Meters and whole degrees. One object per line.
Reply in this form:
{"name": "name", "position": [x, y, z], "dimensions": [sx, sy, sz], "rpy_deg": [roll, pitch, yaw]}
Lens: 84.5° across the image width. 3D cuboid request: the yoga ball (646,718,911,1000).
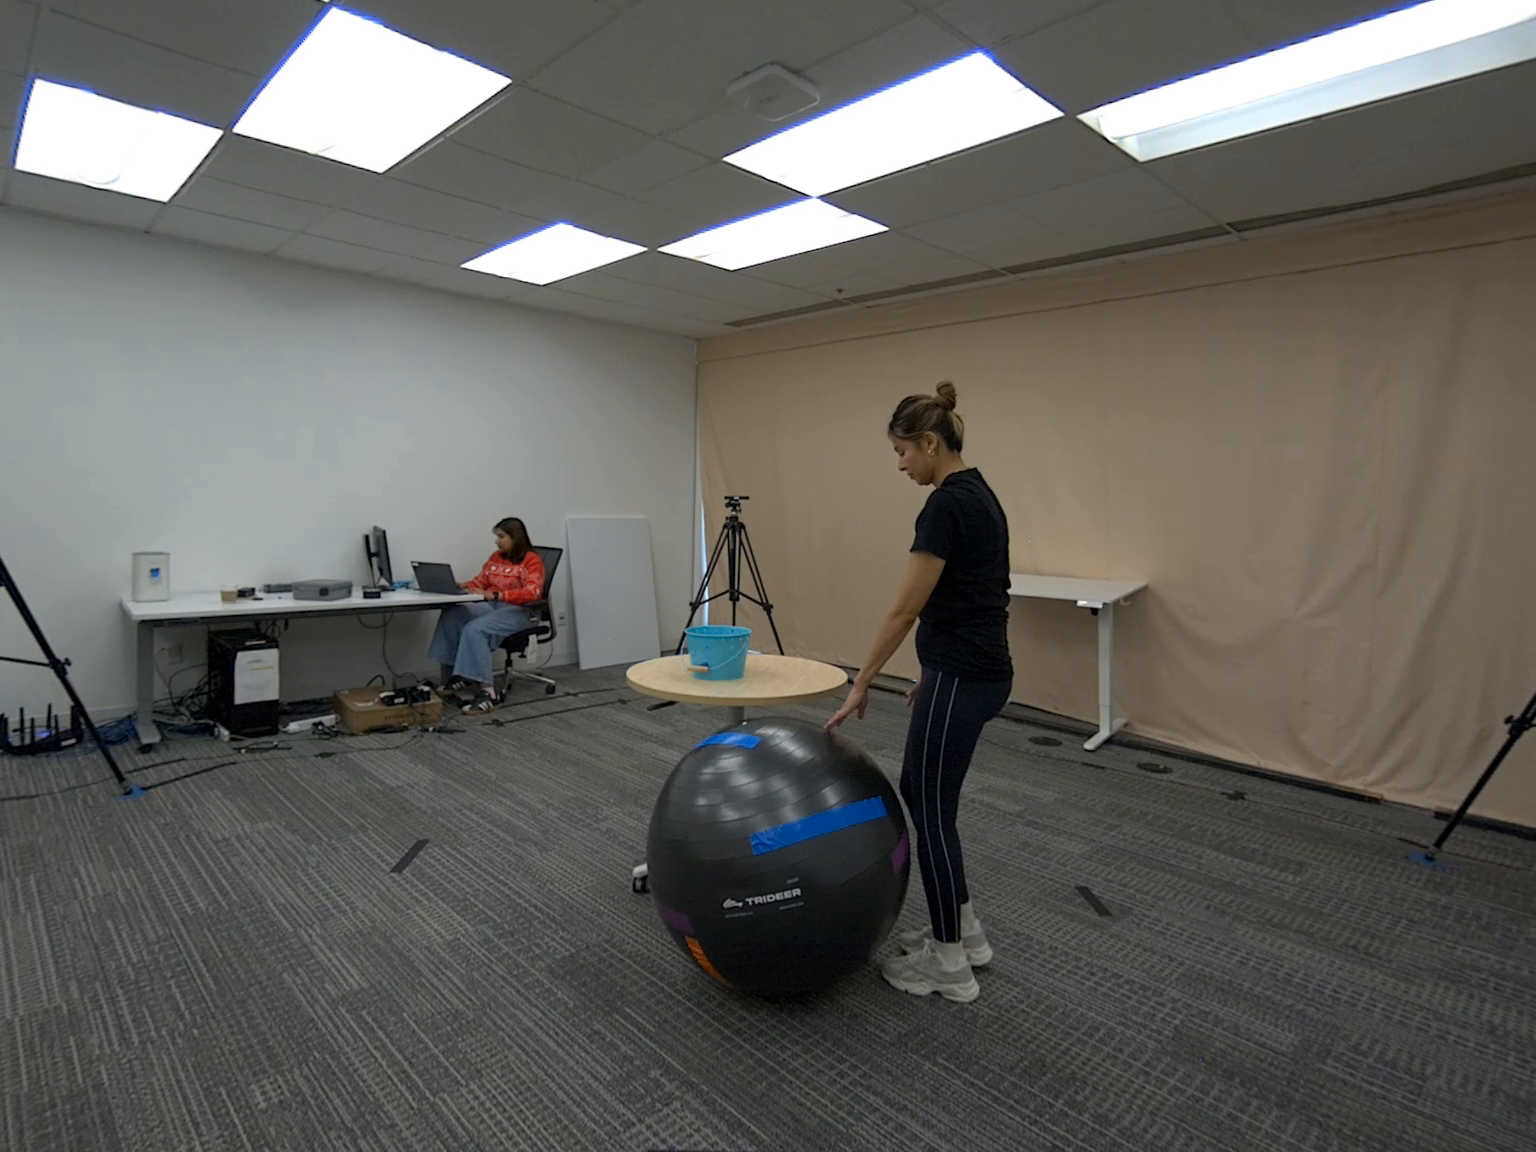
{"name": "yoga ball", "position": [0.024, 0.807, 2.425], "dimensions": [0.757, 0.756, 0.761], "rpy_deg": [1, 4, -1]}
